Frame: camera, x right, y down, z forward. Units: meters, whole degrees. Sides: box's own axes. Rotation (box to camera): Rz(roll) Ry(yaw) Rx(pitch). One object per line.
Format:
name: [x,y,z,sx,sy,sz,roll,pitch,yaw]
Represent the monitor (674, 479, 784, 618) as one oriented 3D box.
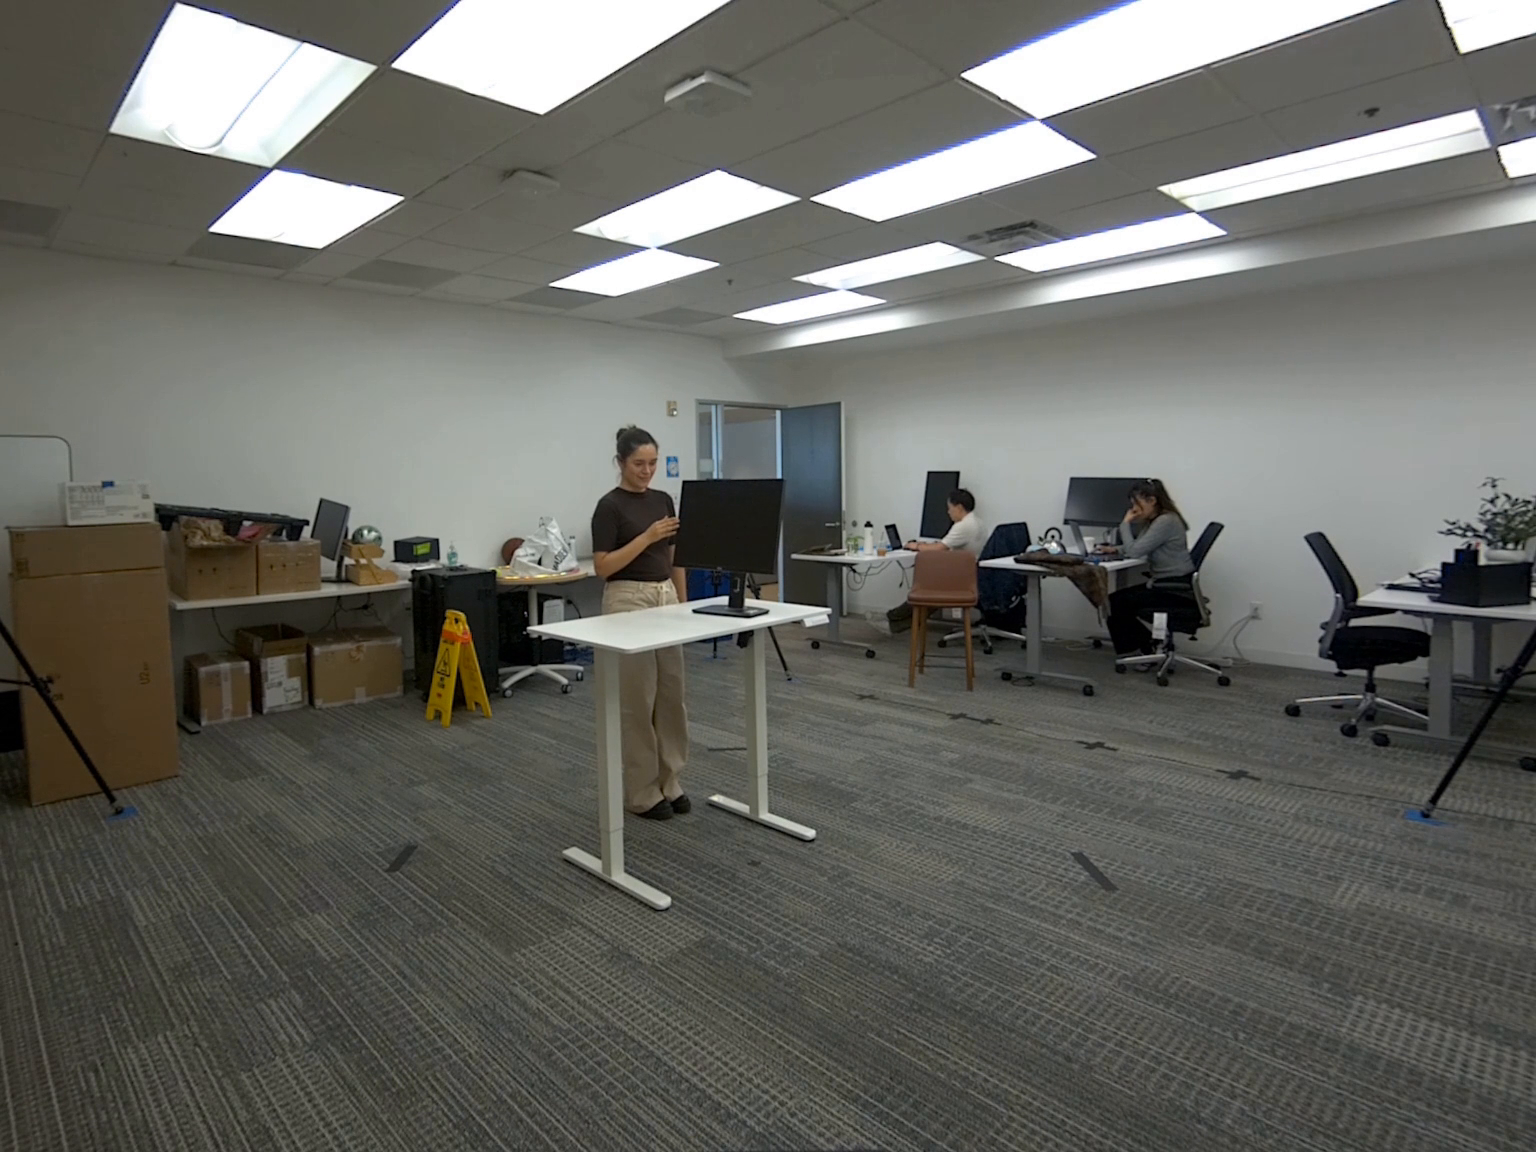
monitor: [-0.138,-0.109,3.280,0.556,0.520,0.182,4,7,44]
